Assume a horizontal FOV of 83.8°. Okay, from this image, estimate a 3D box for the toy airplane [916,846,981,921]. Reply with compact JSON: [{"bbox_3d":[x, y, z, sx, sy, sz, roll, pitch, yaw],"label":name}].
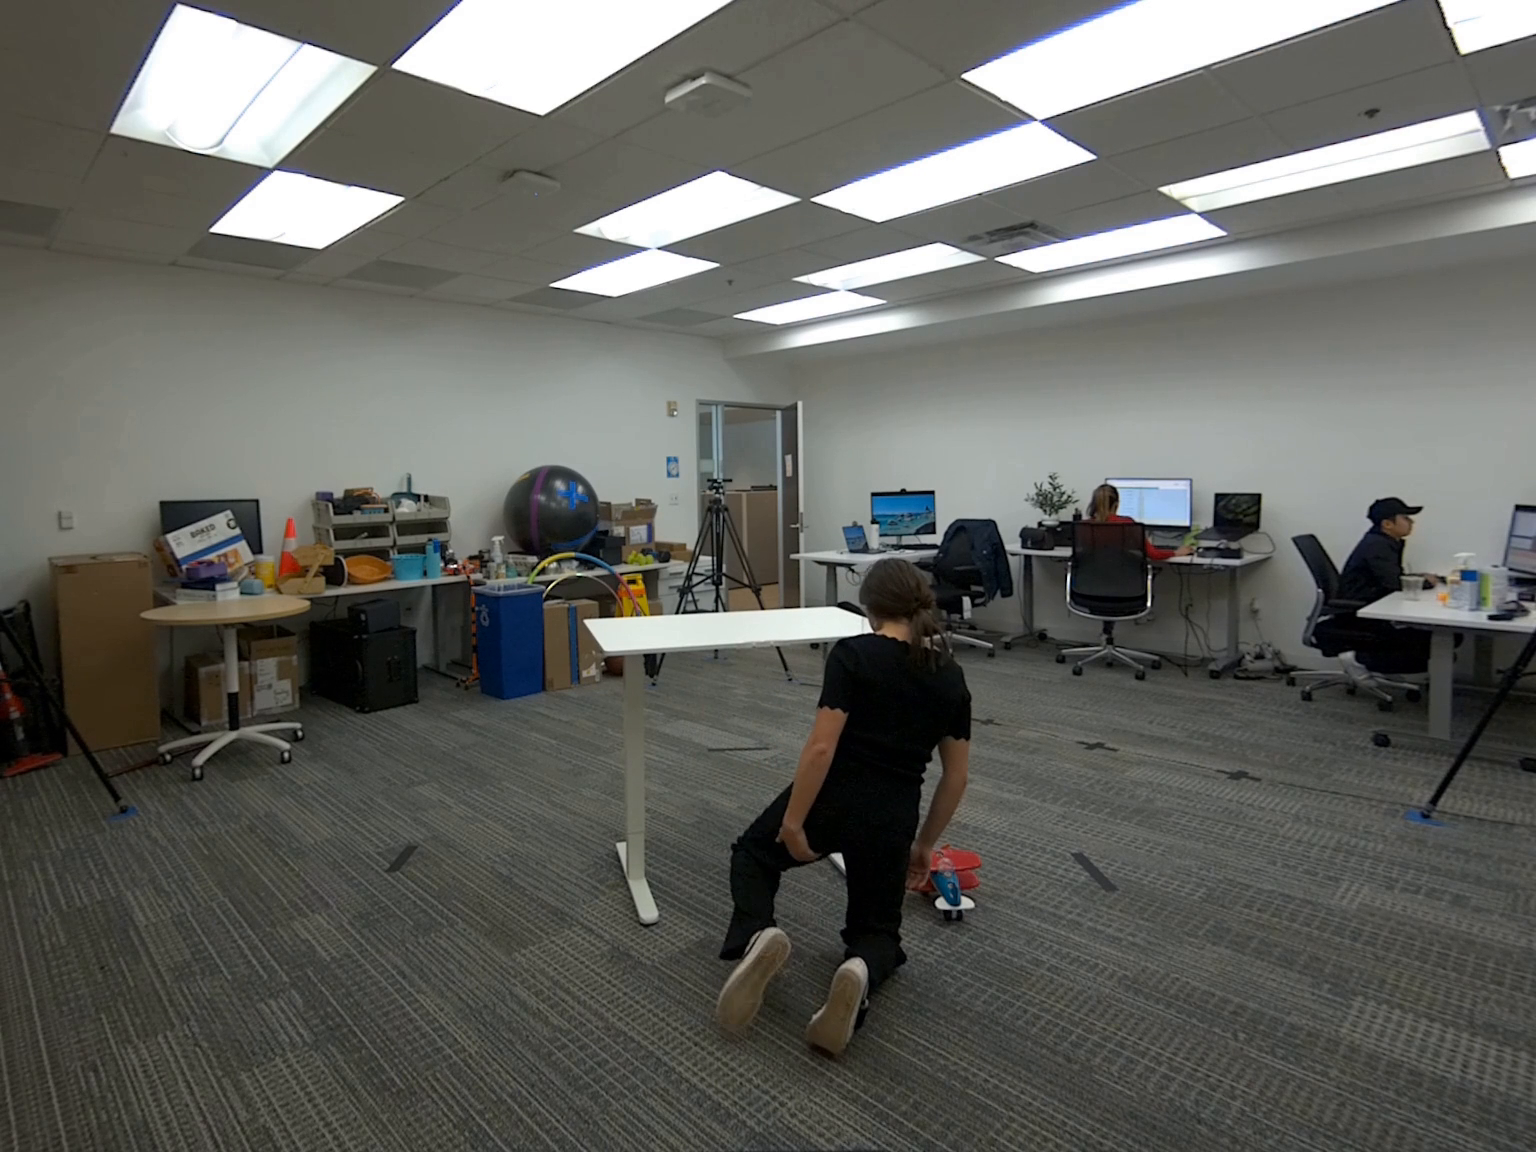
[{"bbox_3d":[0.596,0.996,2.779,0.245,0.156,0.266,-4,6,-32],"label":"toy airplane"}]
